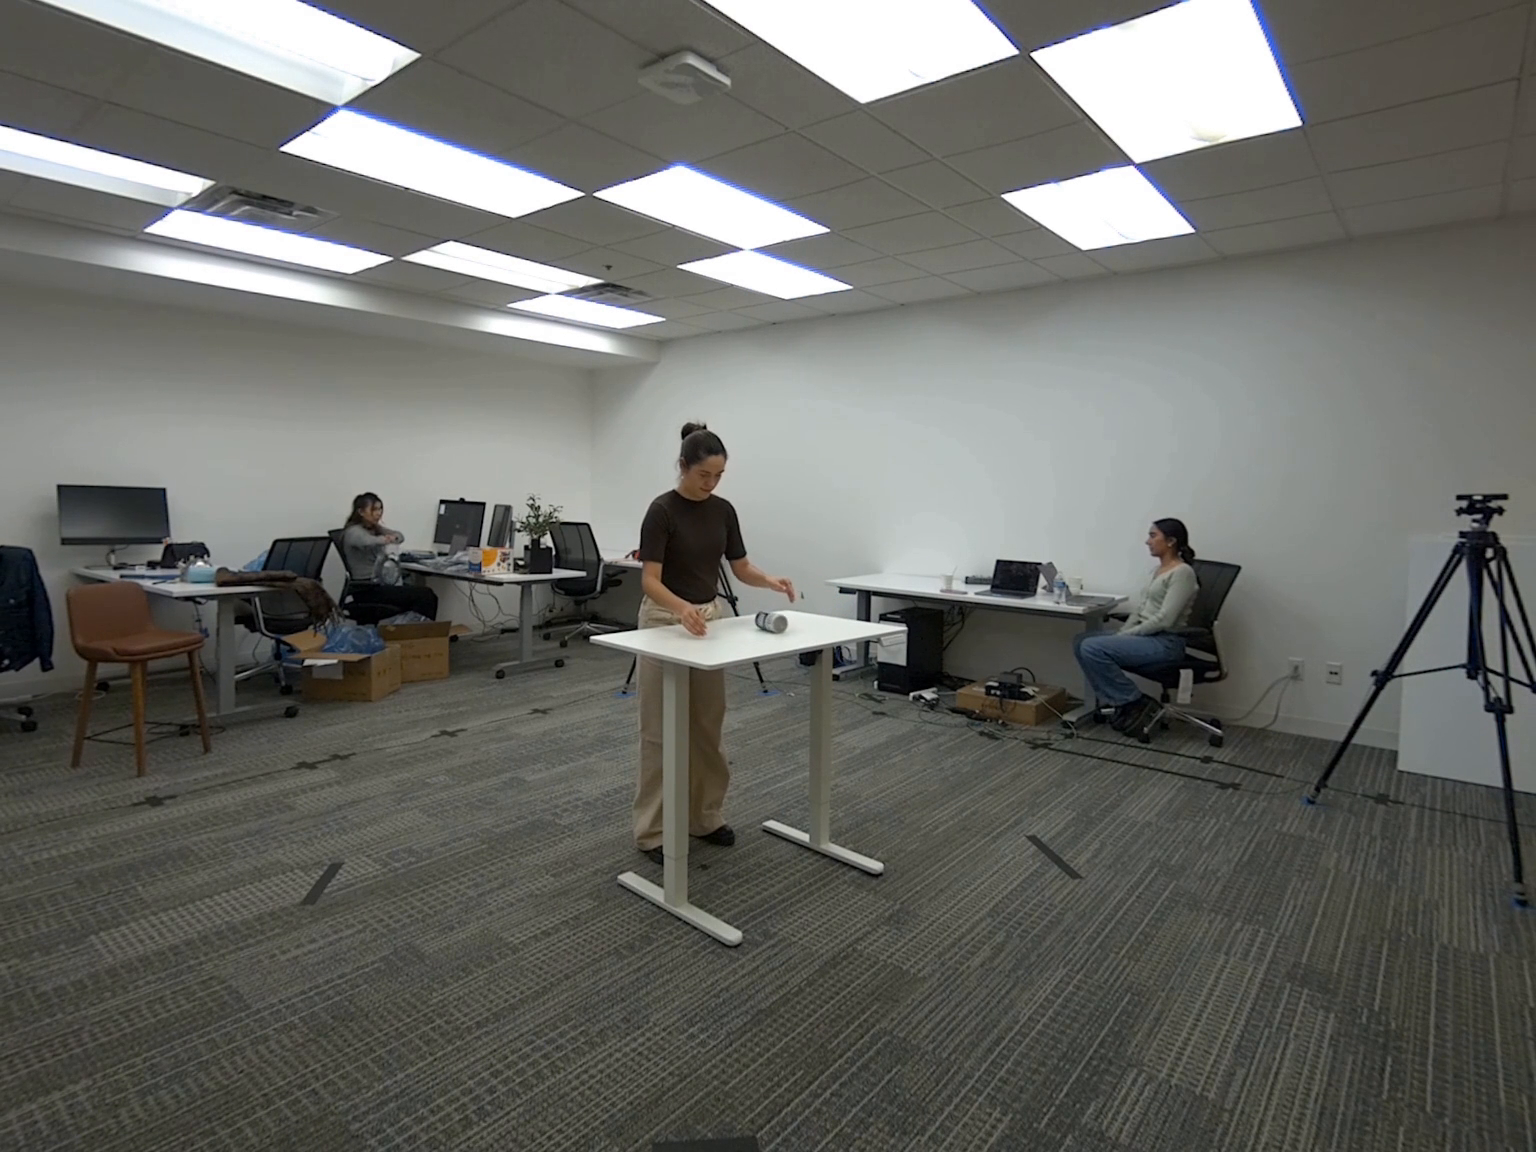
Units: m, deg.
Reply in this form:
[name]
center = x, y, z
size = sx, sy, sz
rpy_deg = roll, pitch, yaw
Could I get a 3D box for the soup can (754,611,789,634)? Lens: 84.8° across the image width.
[soup can]
center = 0.001, 0.162, 3.014
size = 0.065, 0.067, 0.125
rpy_deg = -2, 5, -32
